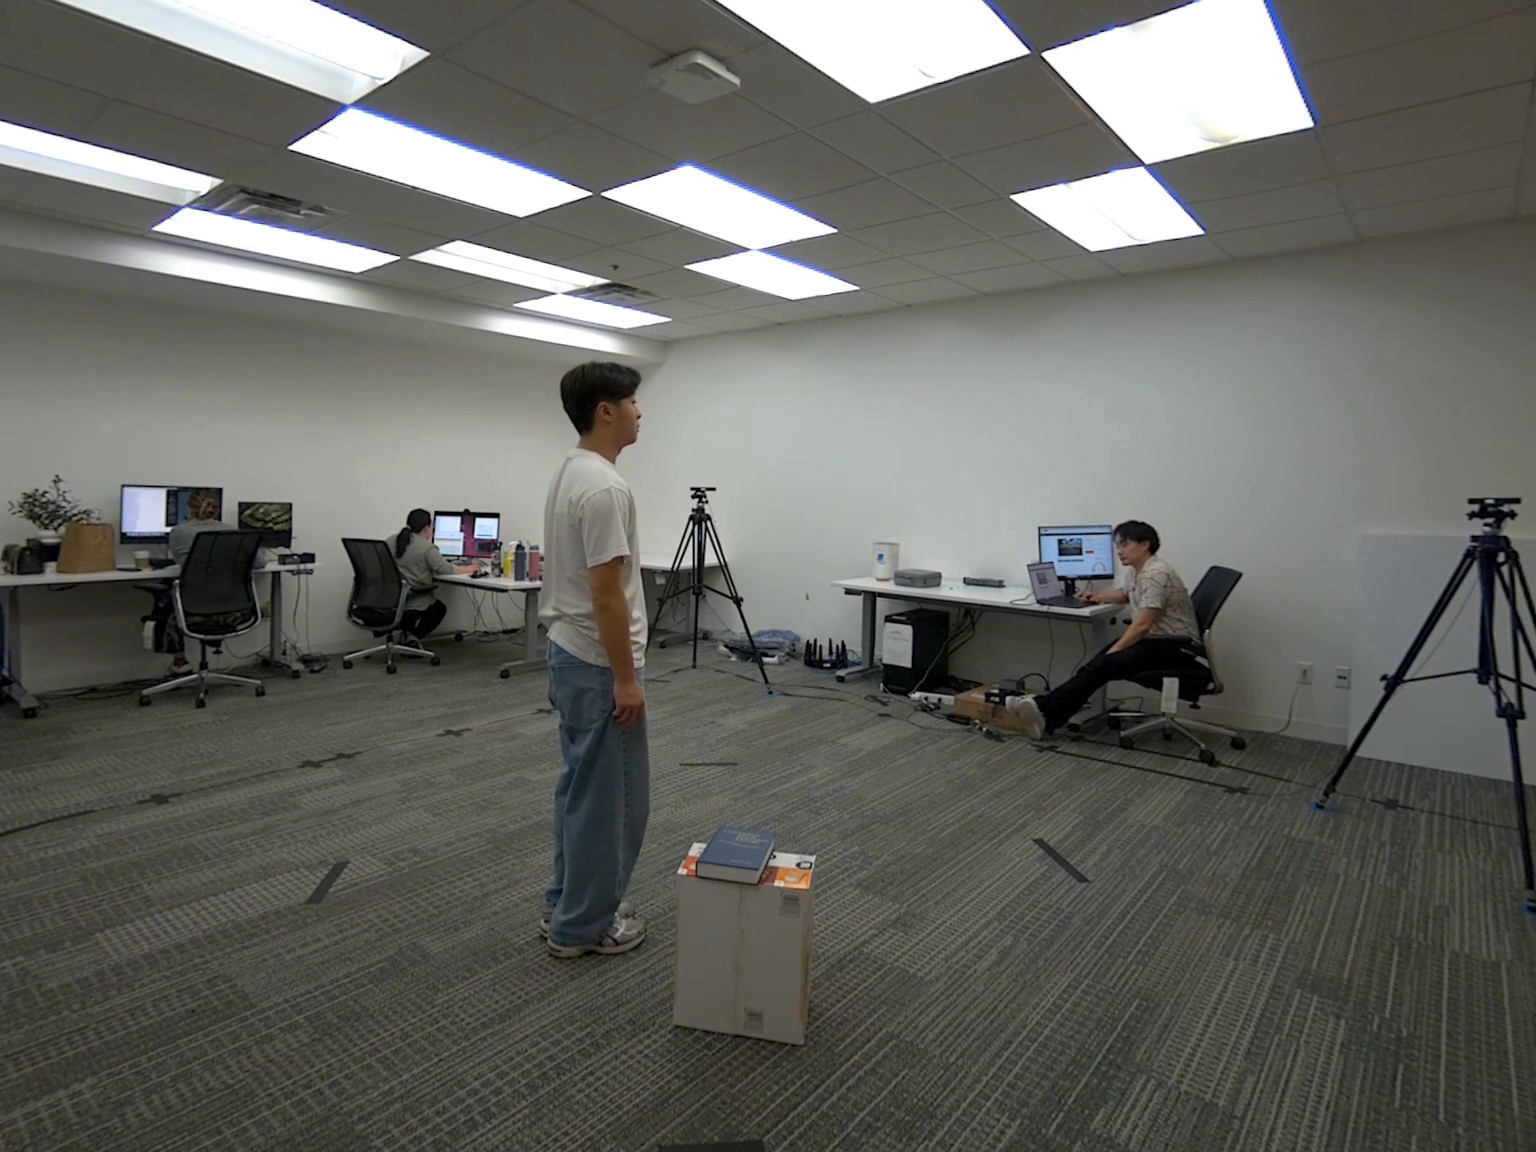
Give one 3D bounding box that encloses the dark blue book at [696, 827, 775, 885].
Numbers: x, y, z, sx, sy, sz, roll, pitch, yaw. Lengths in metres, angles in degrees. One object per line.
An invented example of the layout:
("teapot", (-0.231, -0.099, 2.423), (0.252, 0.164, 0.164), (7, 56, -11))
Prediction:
("dark blue book", (-0.087, 0.729, 2.245), (0.166, 0.045, 0.242), (3, 6, 11))
